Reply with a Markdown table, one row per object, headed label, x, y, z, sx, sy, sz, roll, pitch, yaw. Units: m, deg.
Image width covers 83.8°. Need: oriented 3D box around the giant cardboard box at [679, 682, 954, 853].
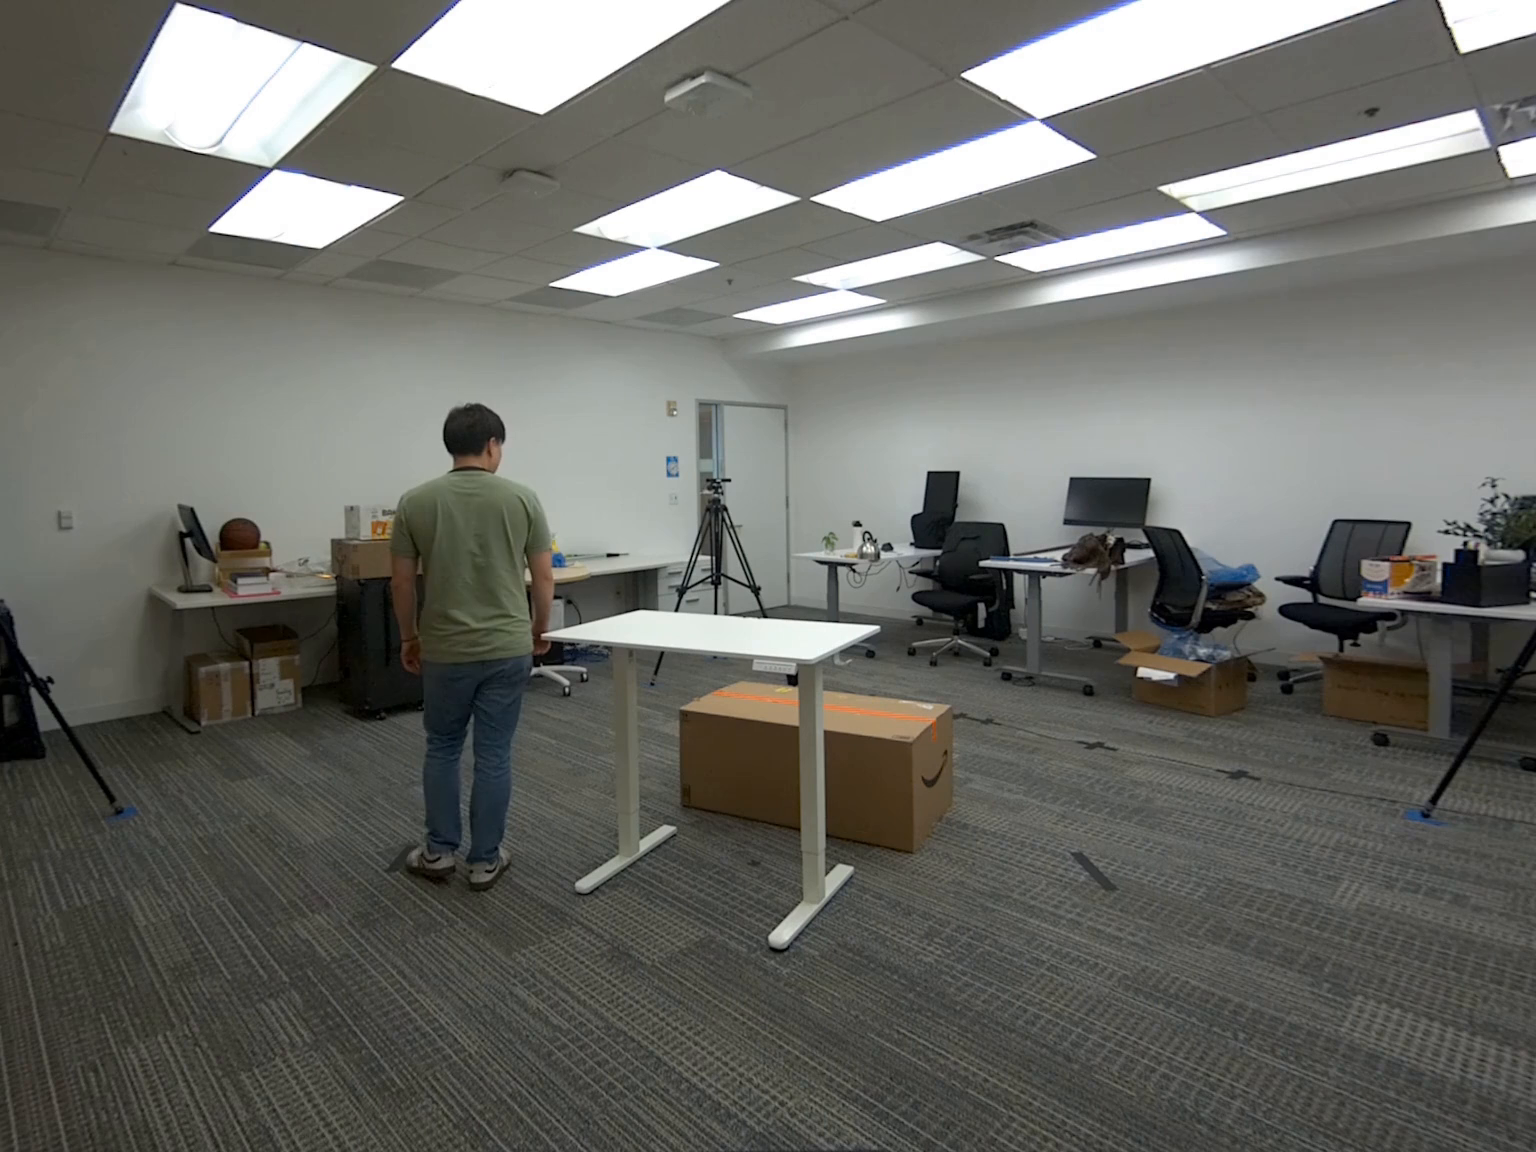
| label | x | y | z | sx | sy | sz | roll | pitch | yaw |
| --- | --- | --- | --- | --- | --- | --- | --- | --- | --- |
| giant cardboard box | 0.203 | 0.764 | 3.641 | 1.052 | 0.425 | 0.565 | 2 | 5 | 29 |
